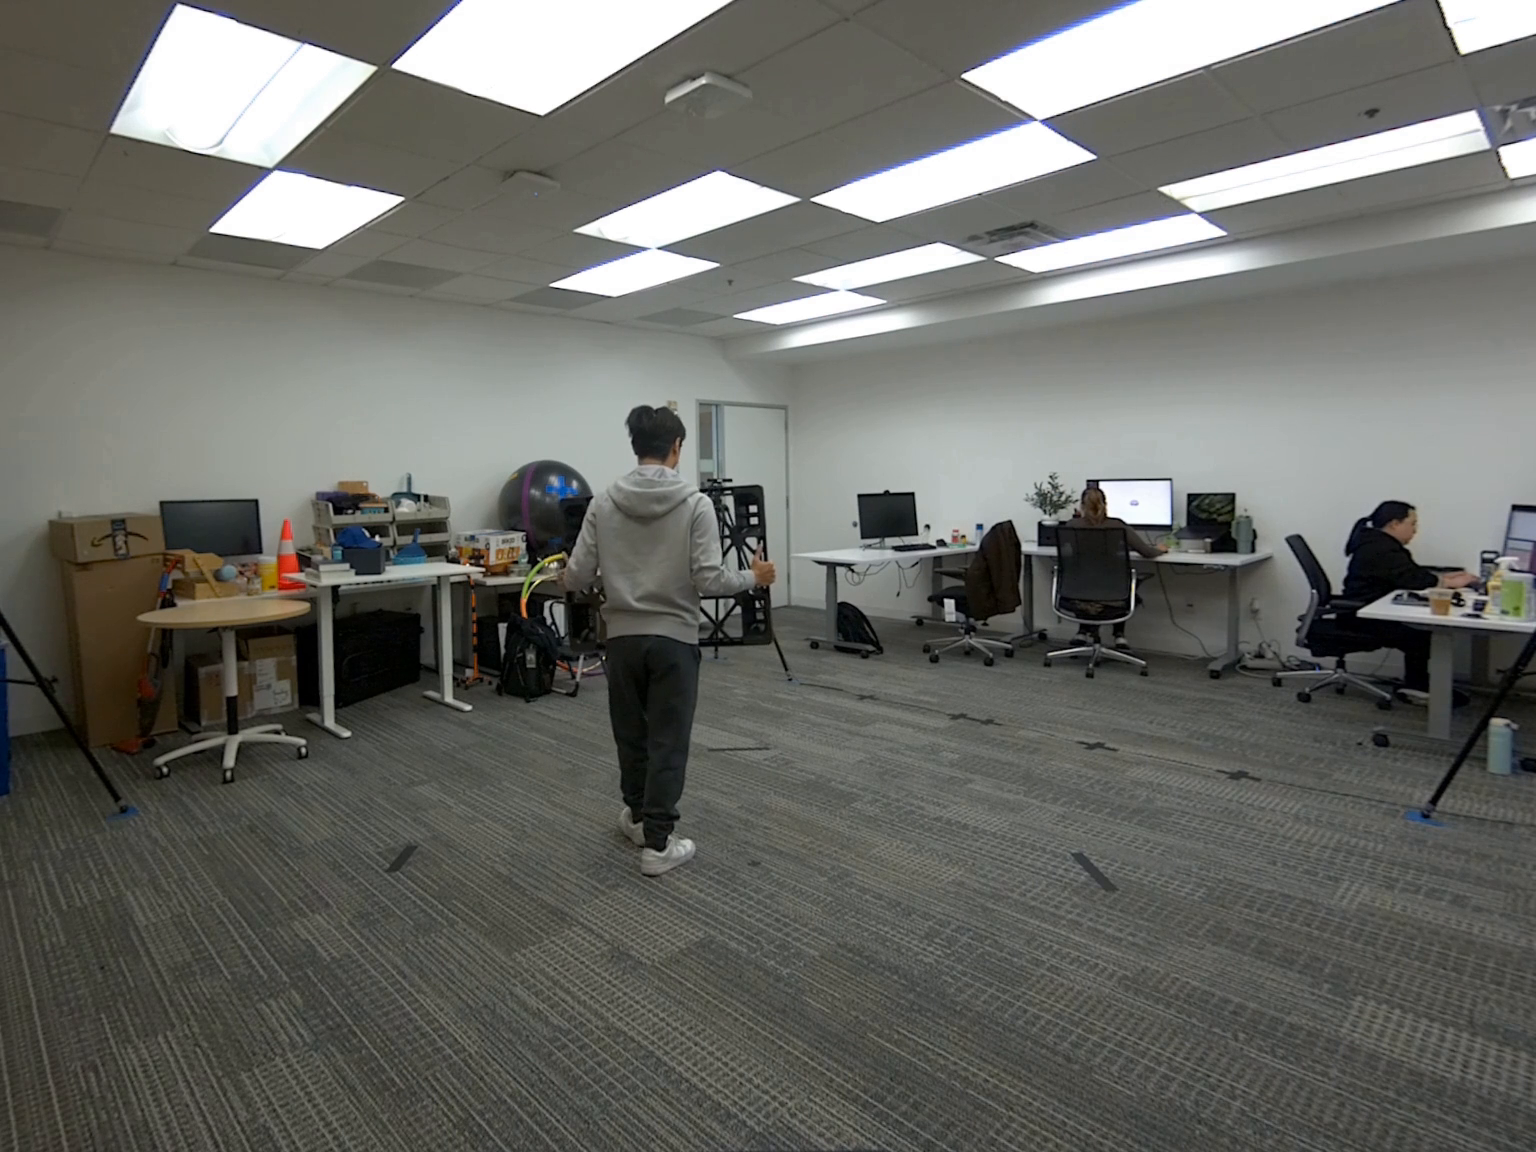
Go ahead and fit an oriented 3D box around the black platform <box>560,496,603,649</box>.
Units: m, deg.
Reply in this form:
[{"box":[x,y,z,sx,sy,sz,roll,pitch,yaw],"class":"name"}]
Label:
[{"box":[-0.390,-0.026,3.301,0.814,0.603,0.142,-3,4,12],"class":"black platform"}]
